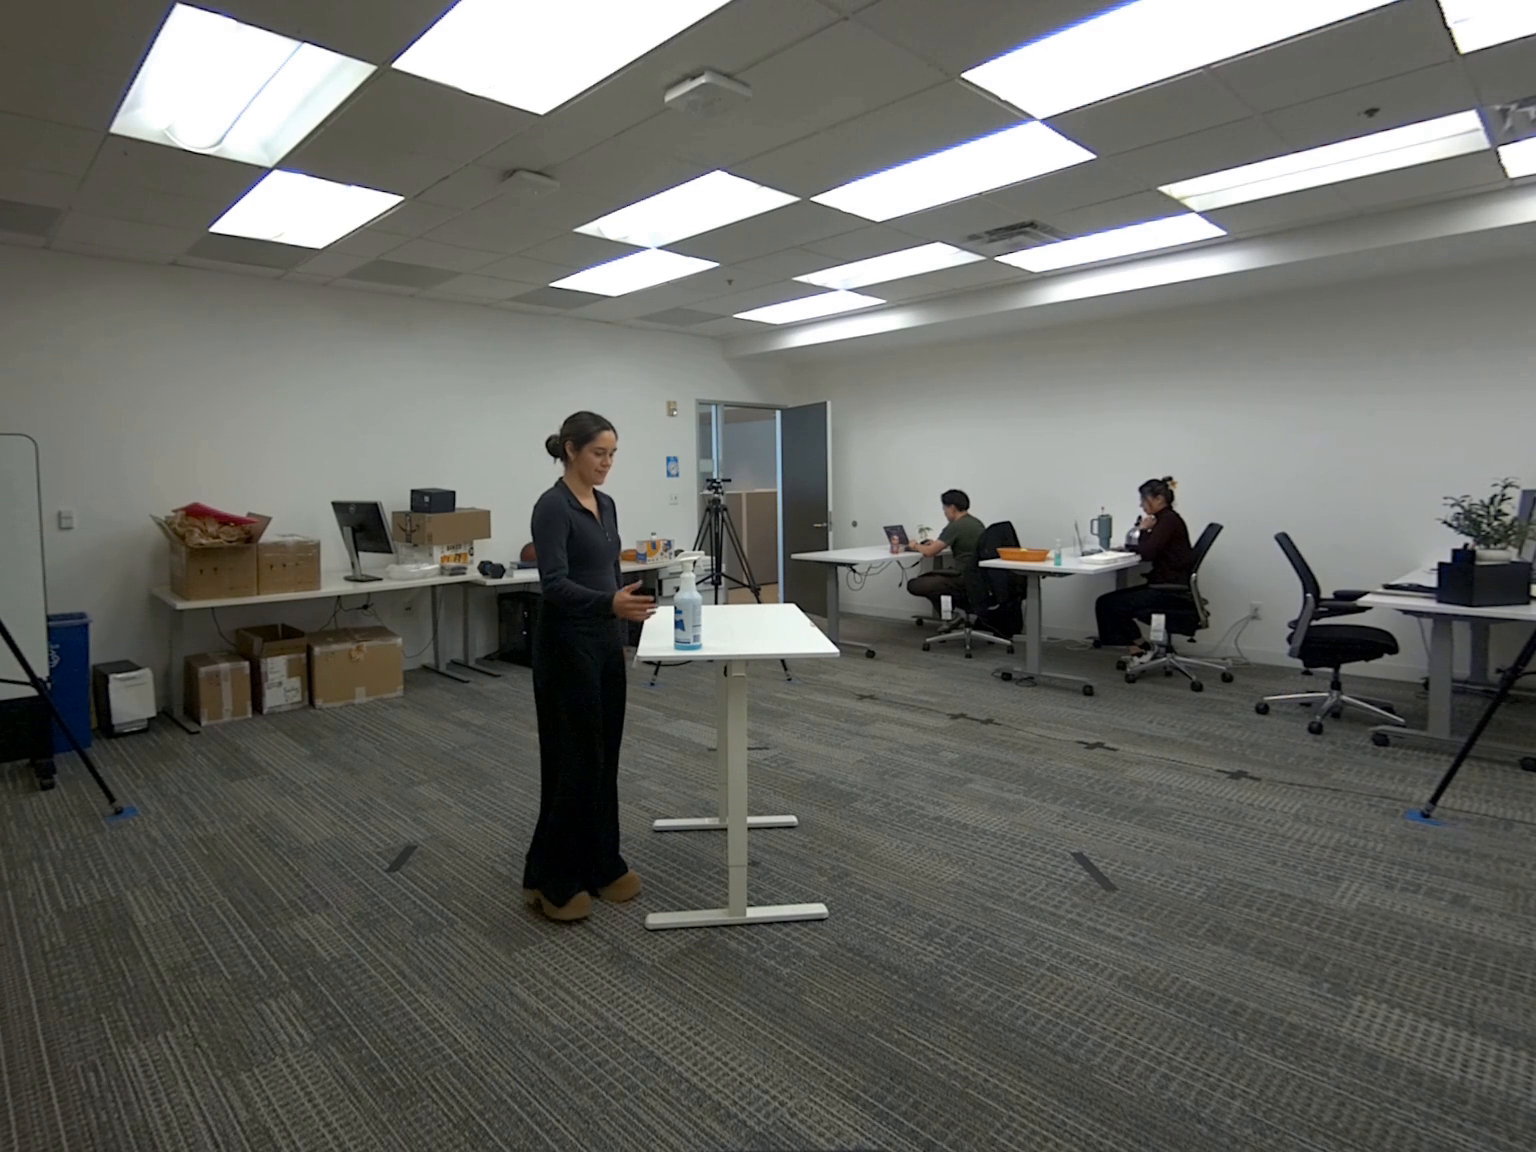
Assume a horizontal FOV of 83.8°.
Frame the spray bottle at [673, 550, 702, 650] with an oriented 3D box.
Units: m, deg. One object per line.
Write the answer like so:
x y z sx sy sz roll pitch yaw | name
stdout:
-0.248 0.078 2.606 0.092 0.296 0.085 2 3 20 | spray bottle
